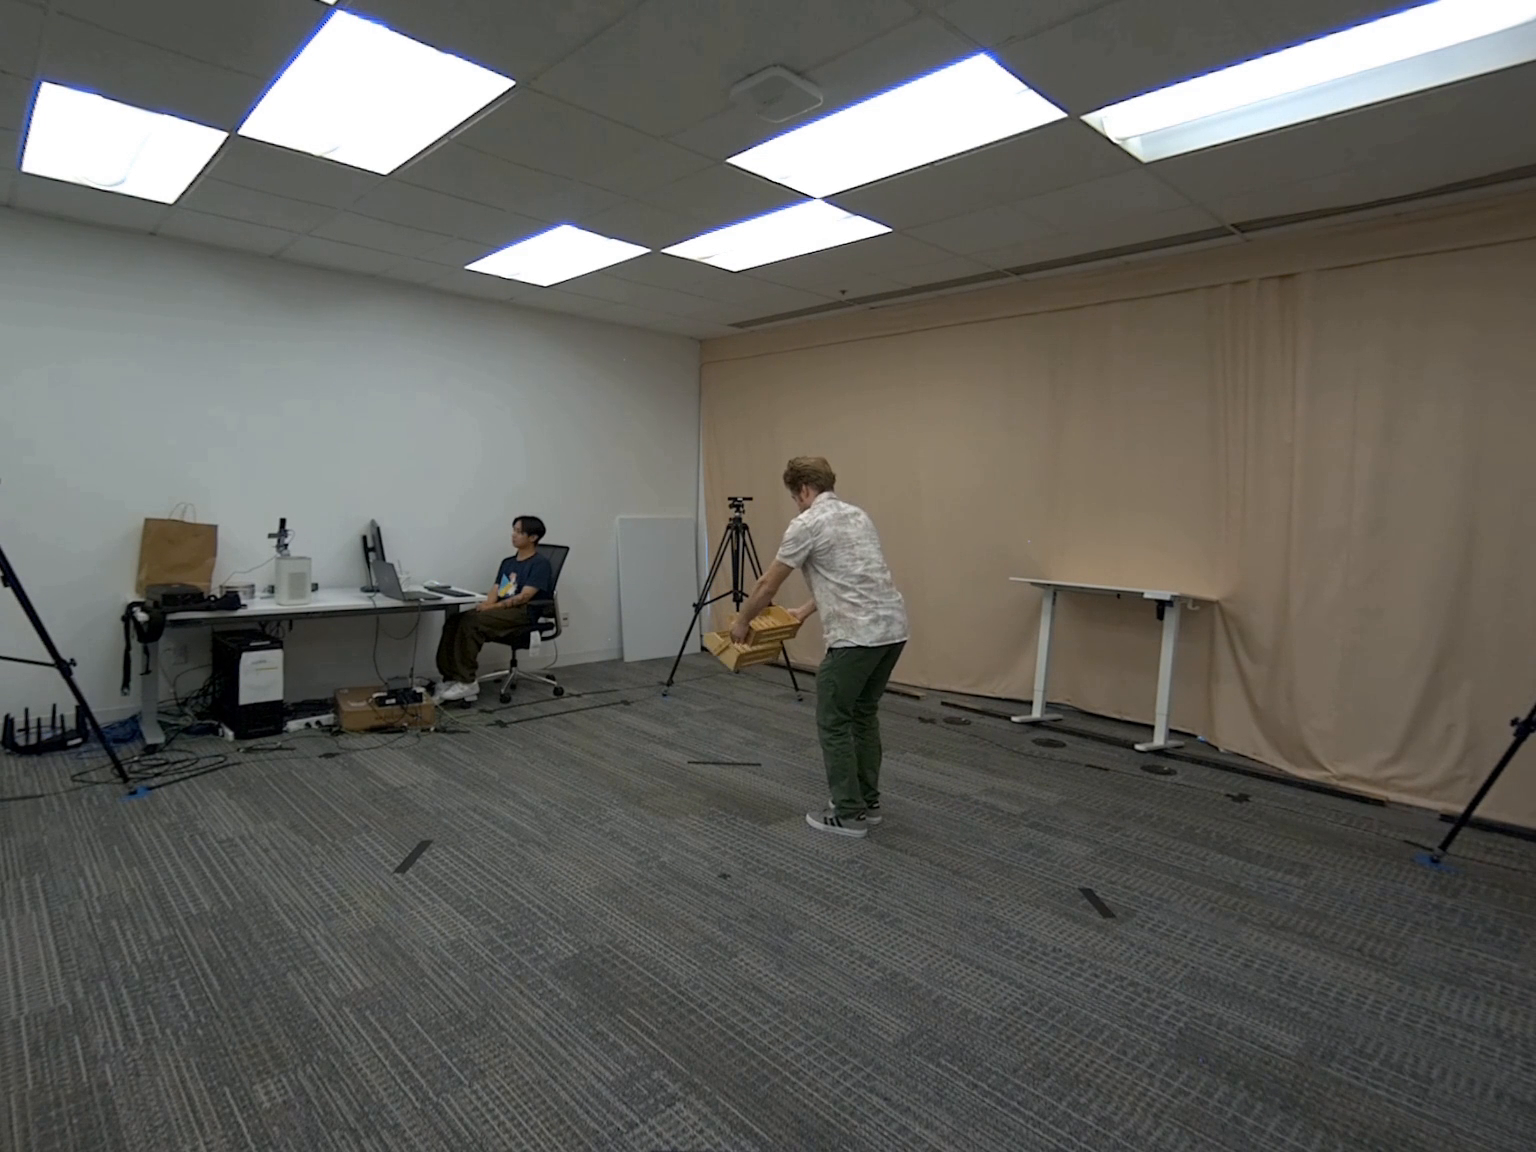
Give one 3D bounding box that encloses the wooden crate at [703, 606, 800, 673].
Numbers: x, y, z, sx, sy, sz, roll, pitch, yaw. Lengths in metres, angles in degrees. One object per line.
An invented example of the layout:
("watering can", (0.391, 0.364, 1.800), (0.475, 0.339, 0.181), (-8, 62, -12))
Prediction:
("wooden crate", (-0.094, 0.265, 4.033), (0.317, 0.271, 0.311), (-6, 34, -45))
